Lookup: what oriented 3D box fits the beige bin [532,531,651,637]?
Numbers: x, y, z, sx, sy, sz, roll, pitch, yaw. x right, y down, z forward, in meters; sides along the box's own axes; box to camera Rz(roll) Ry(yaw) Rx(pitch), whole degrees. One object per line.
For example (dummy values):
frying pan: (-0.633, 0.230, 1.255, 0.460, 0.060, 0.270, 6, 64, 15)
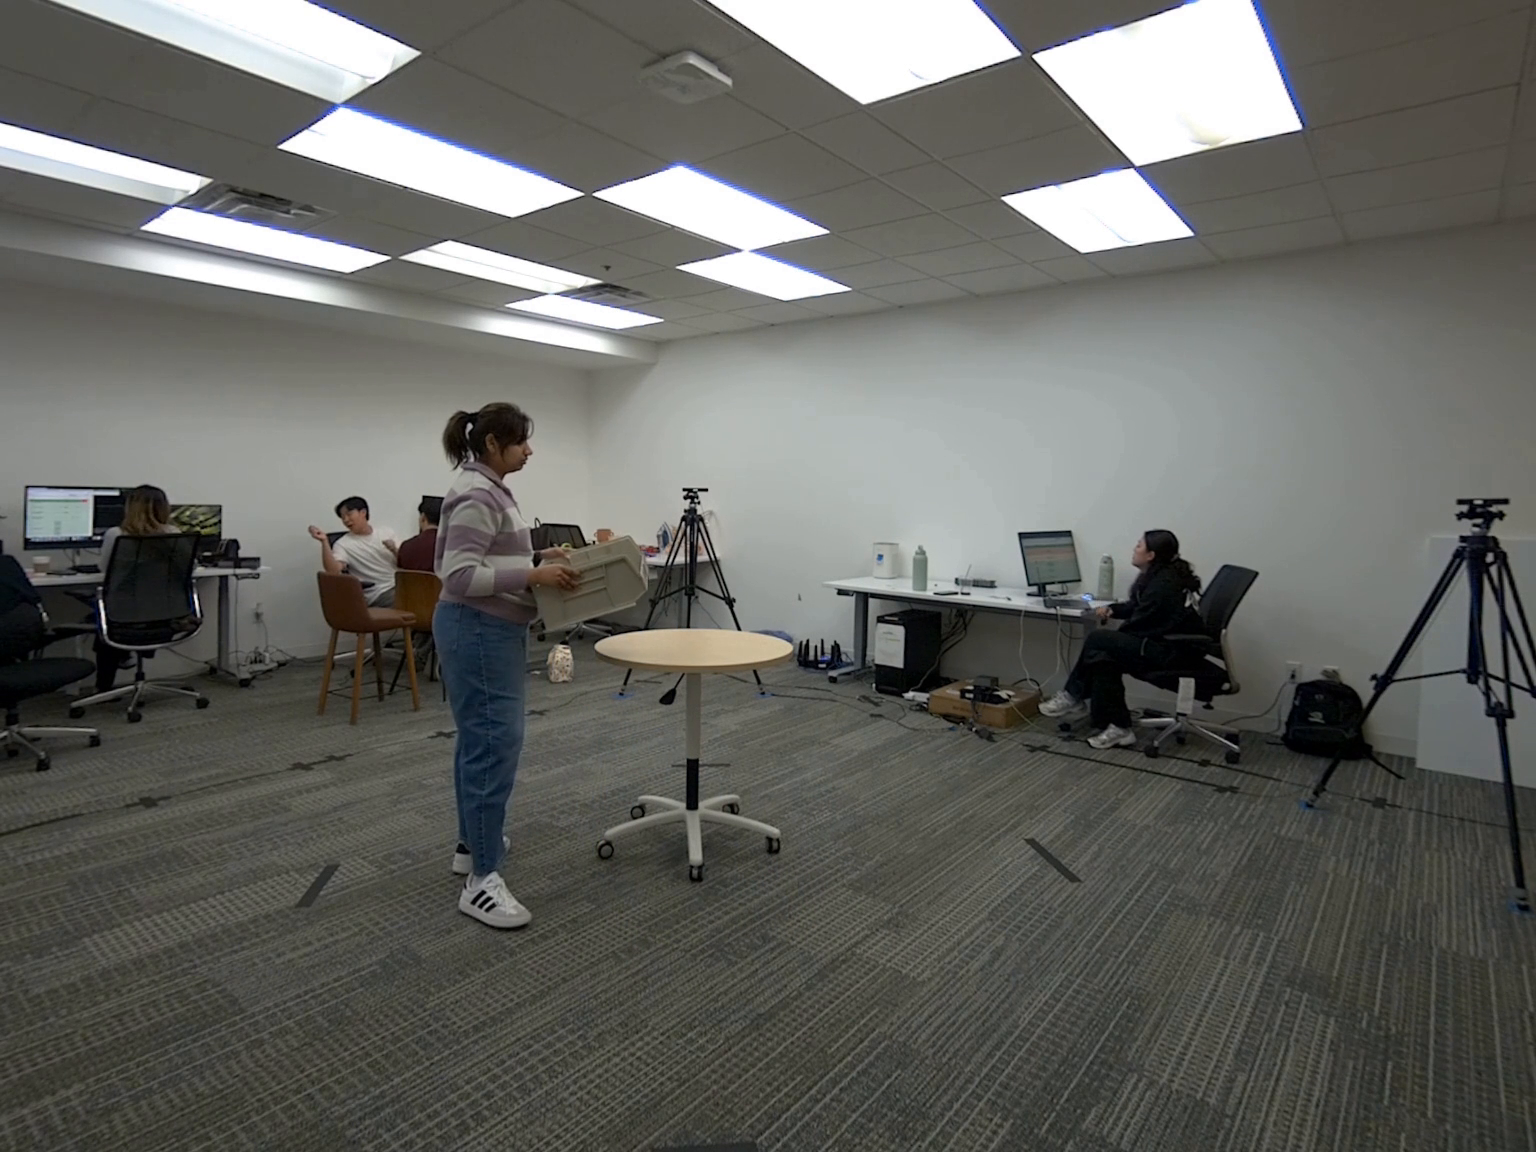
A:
beige bin: (-0.635, 0.015, 3.033, 0.376, 0.186, 0.429, -17, 13, -3)
